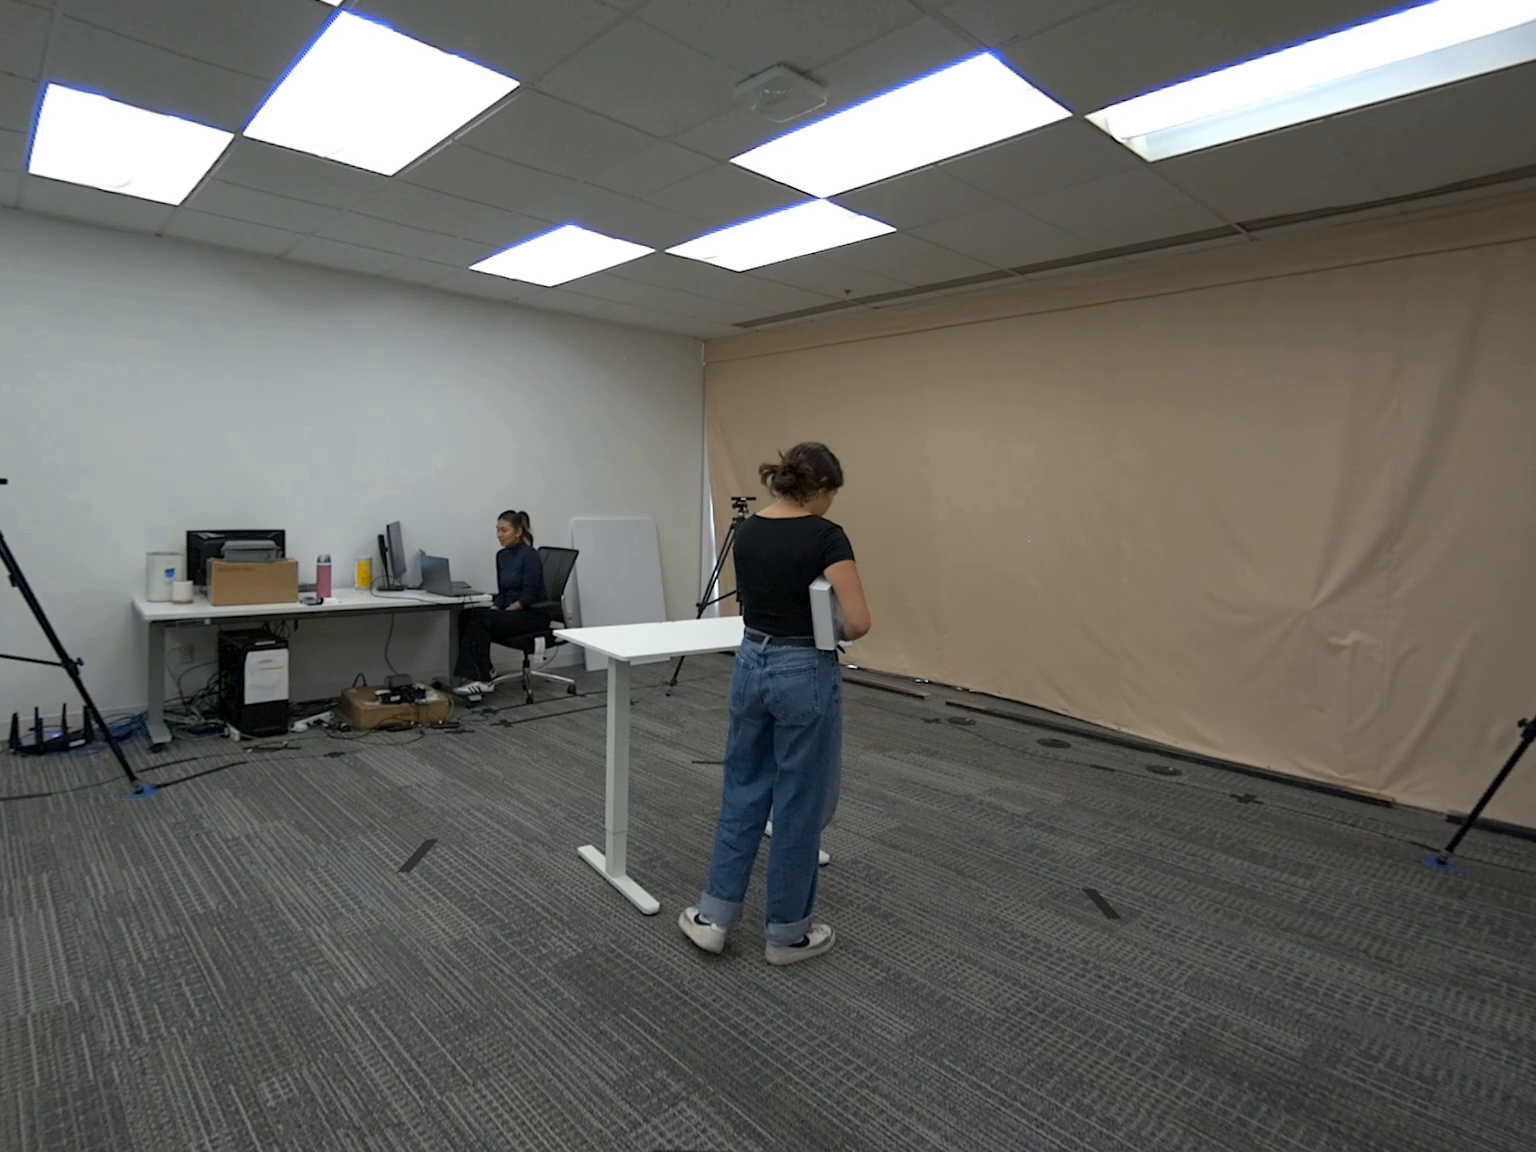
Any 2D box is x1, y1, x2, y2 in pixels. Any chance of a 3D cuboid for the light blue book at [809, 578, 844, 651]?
[{"bbox_3d":[0.183,0.073,2.454,0.060,0.189,0.261,-3,18,18],"label":"light blue book"}]
